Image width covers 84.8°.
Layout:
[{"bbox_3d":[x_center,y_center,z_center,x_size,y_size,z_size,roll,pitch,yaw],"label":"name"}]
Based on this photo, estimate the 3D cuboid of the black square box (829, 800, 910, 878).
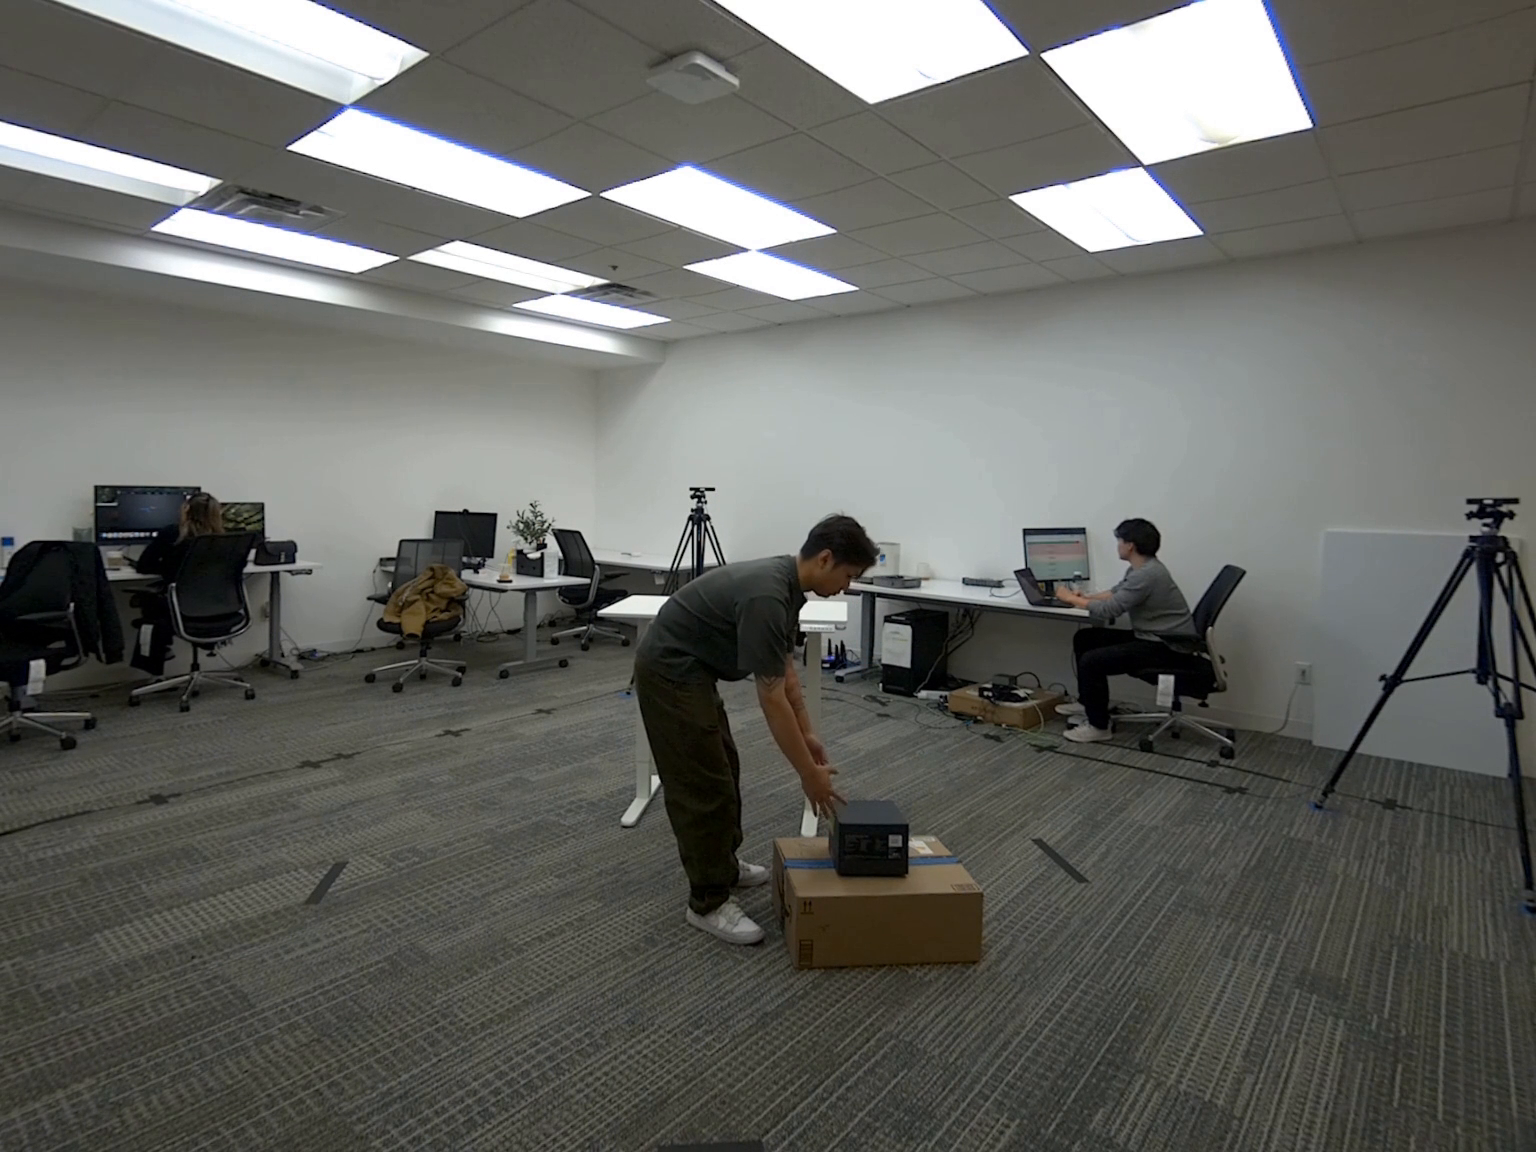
[{"bbox_3d":[0.307,0.818,2.689,0.216,0.155,0.229,1,4,-3],"label":"black square box"}]
